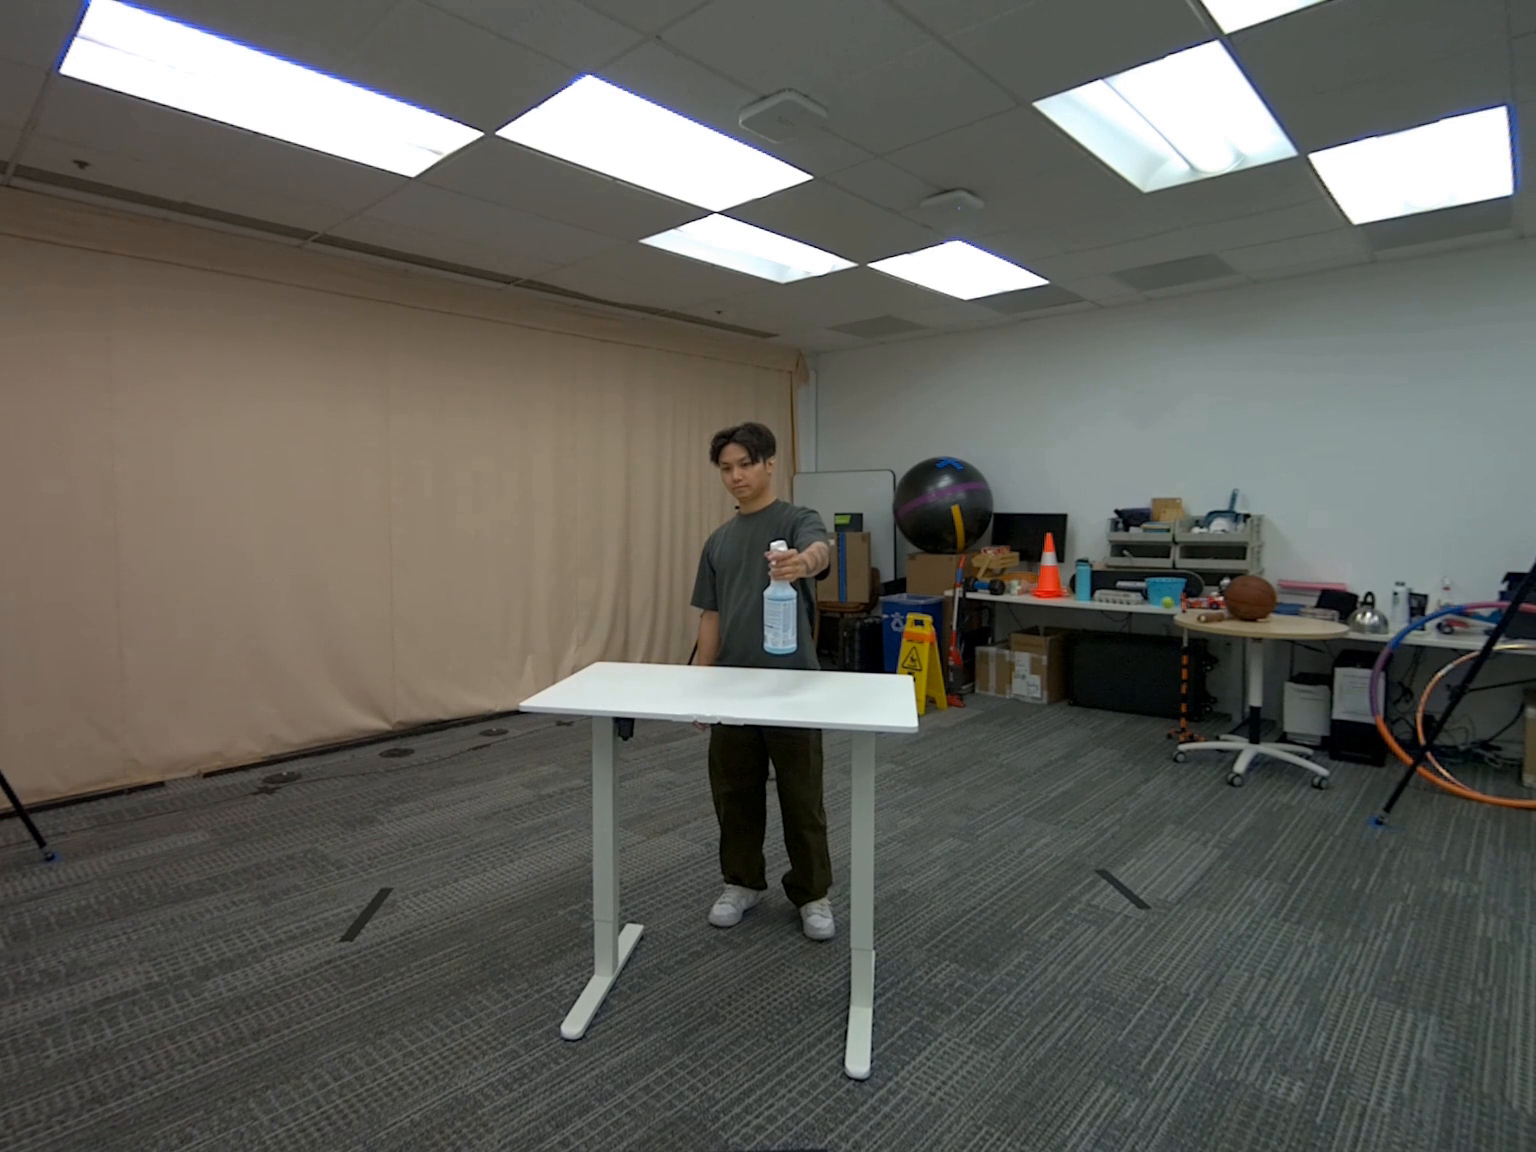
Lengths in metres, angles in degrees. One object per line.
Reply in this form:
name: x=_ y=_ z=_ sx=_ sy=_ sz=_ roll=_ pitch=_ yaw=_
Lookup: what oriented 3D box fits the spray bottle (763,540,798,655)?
spray bottle: x=0.033 y=0.056 z=2.224 sx=0.087 sy=0.295 sz=0.090 roll=-11 pitch=14 yaw=-40
